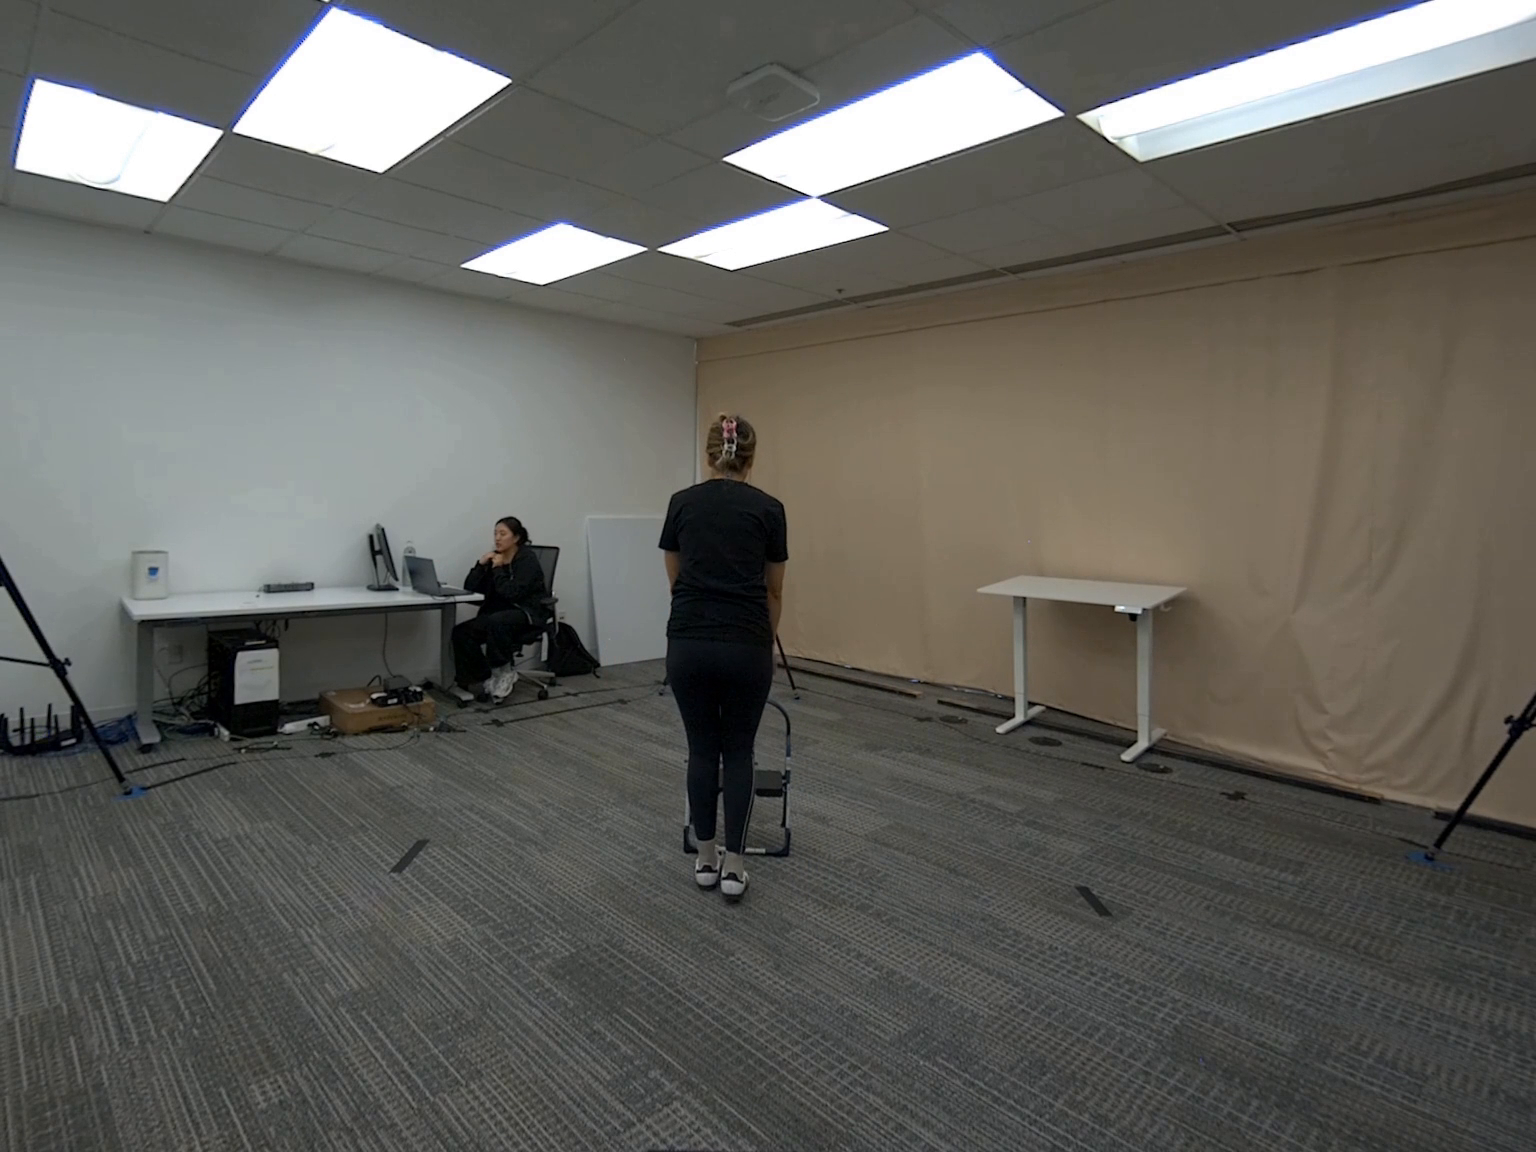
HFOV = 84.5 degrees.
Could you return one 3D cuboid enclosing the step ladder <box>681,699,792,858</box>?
[{"bbox_3d":[-0.122,0.780,3.433,0.431,0.605,0.350,0,2,0],"label":"step ladder"}]
